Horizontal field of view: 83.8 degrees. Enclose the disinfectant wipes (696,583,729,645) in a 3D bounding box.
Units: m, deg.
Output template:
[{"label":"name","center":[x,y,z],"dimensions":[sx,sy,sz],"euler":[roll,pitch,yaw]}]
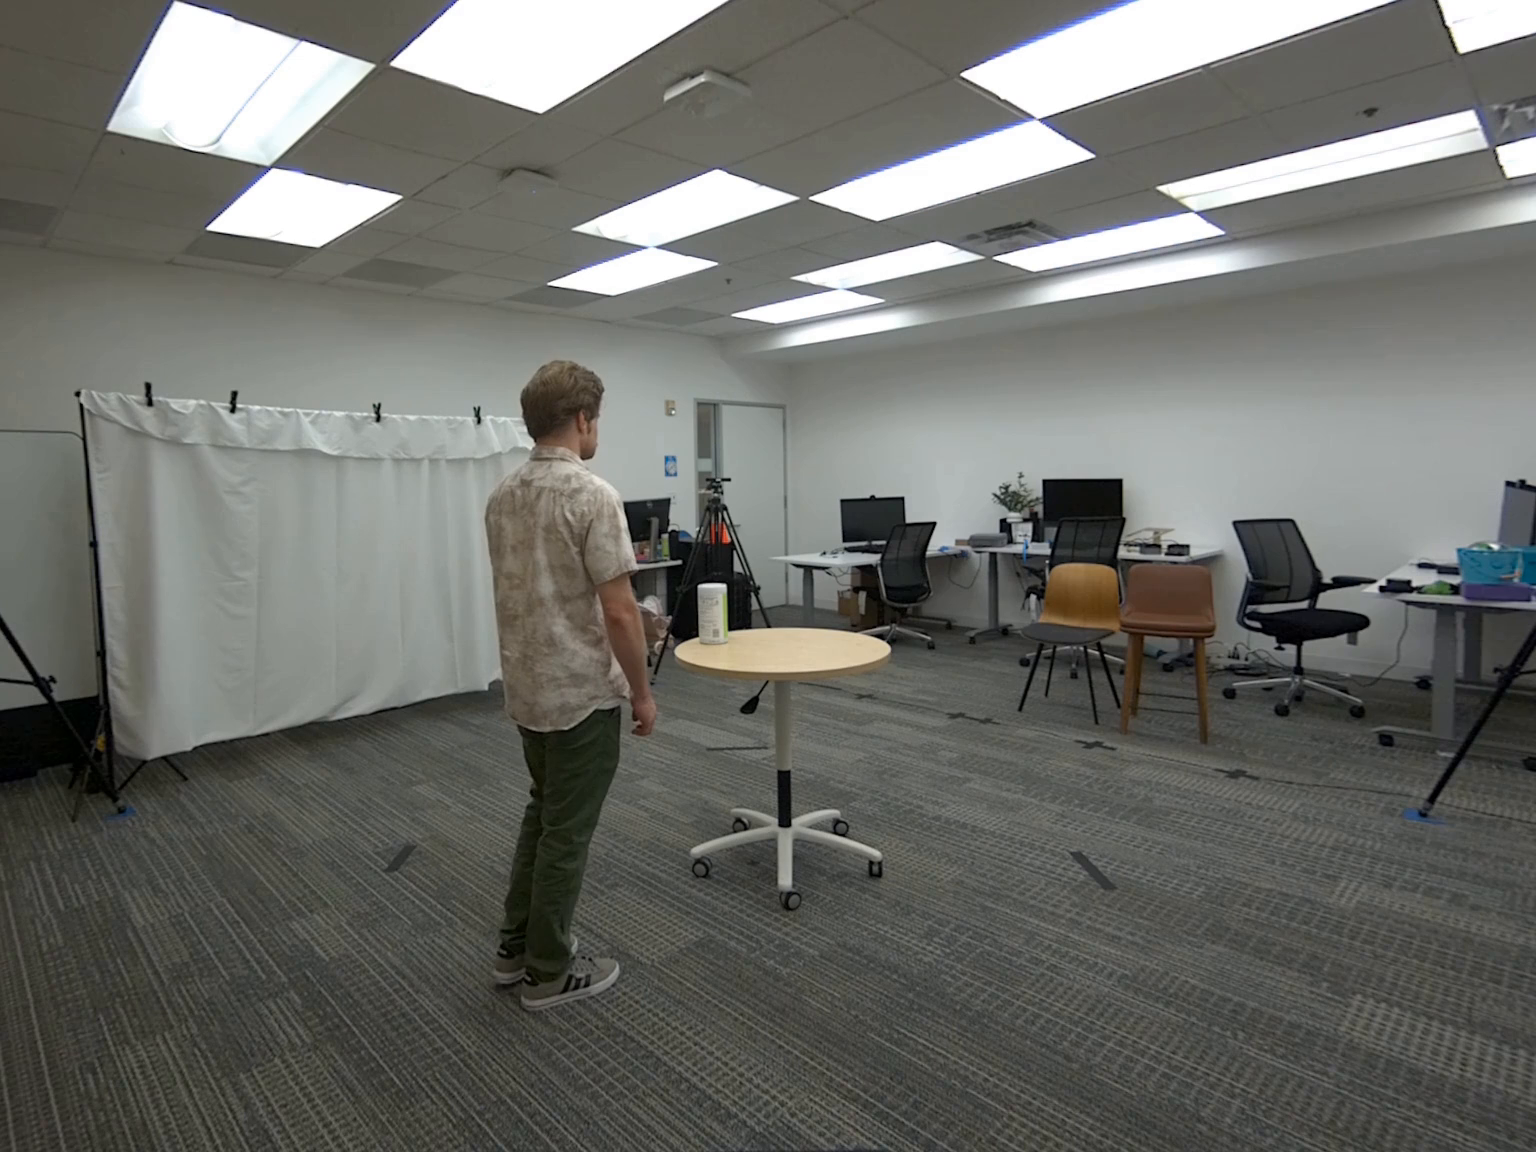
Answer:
[{"label":"disinfectant wipes","center":[-0.200,0.141,3.179],"dimensions":[0.118,0.217,0.118],"euler":[-2,3,-2]}]
